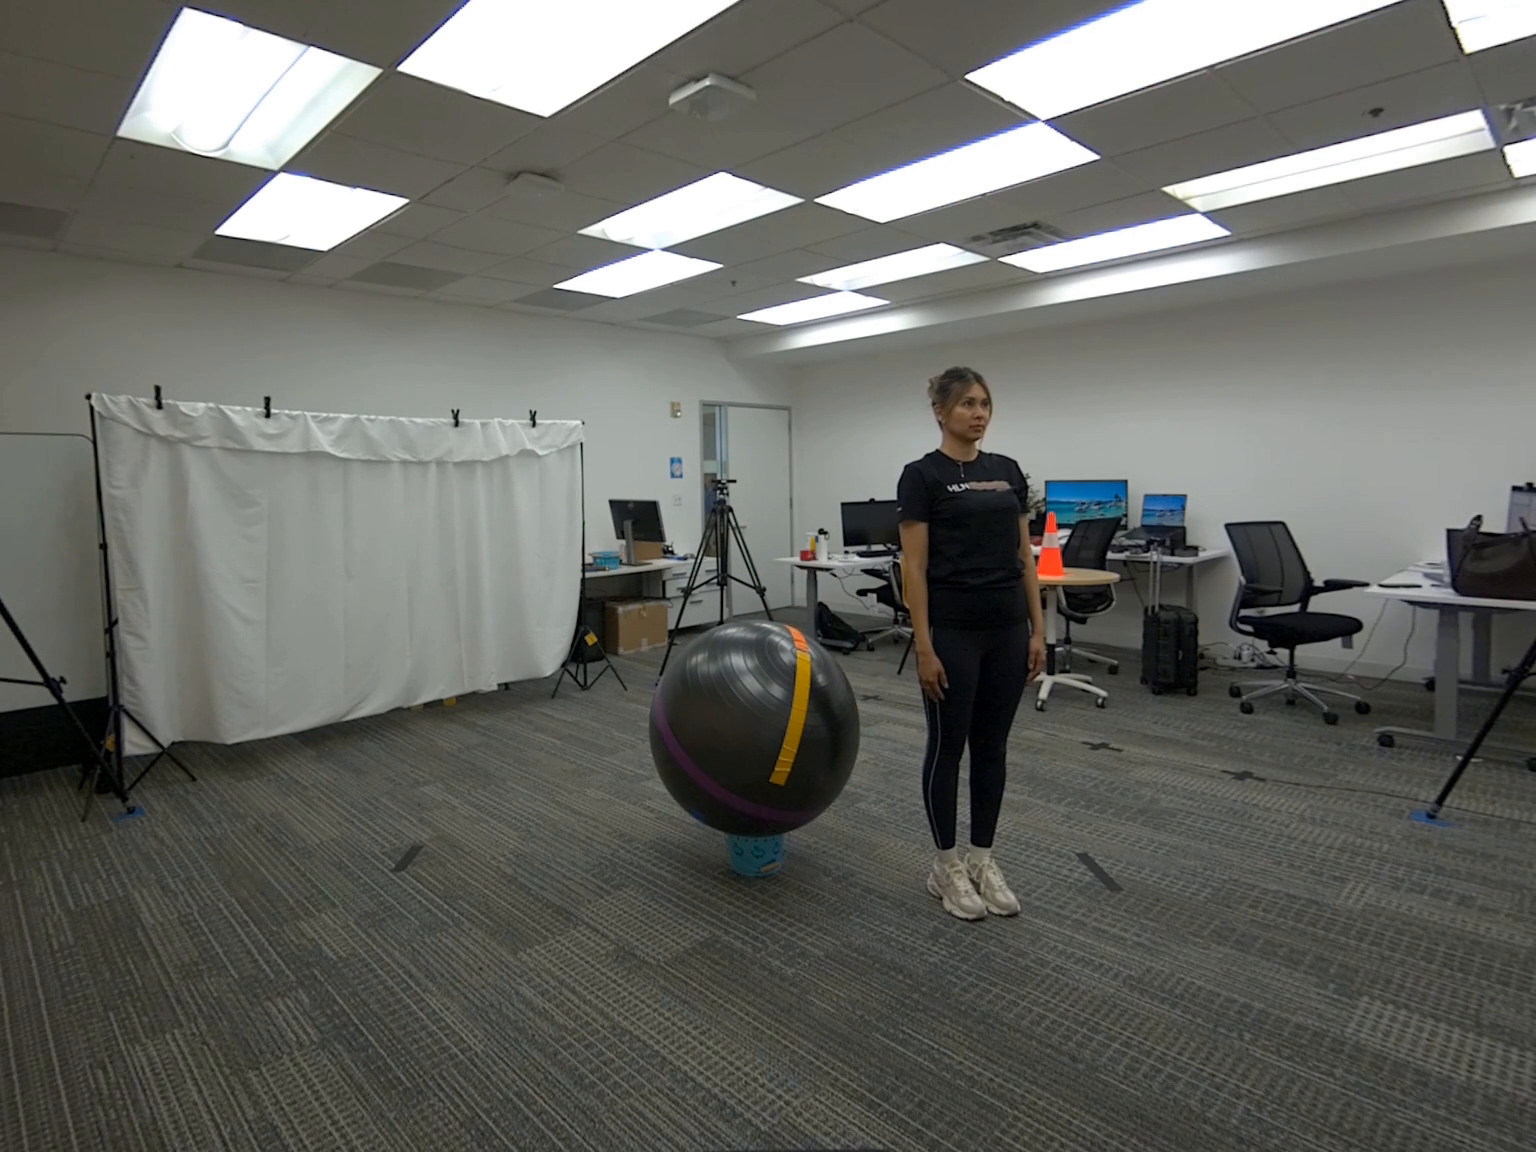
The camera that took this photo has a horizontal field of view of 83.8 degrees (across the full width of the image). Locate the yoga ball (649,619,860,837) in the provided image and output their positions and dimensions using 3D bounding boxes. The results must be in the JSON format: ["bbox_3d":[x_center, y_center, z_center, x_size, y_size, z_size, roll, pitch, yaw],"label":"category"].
[{"bbox_3d":[-0.047,0.540,3.069,0.757,0.755,0.762,-1,5,-2],"label":"yoga ball"}]
